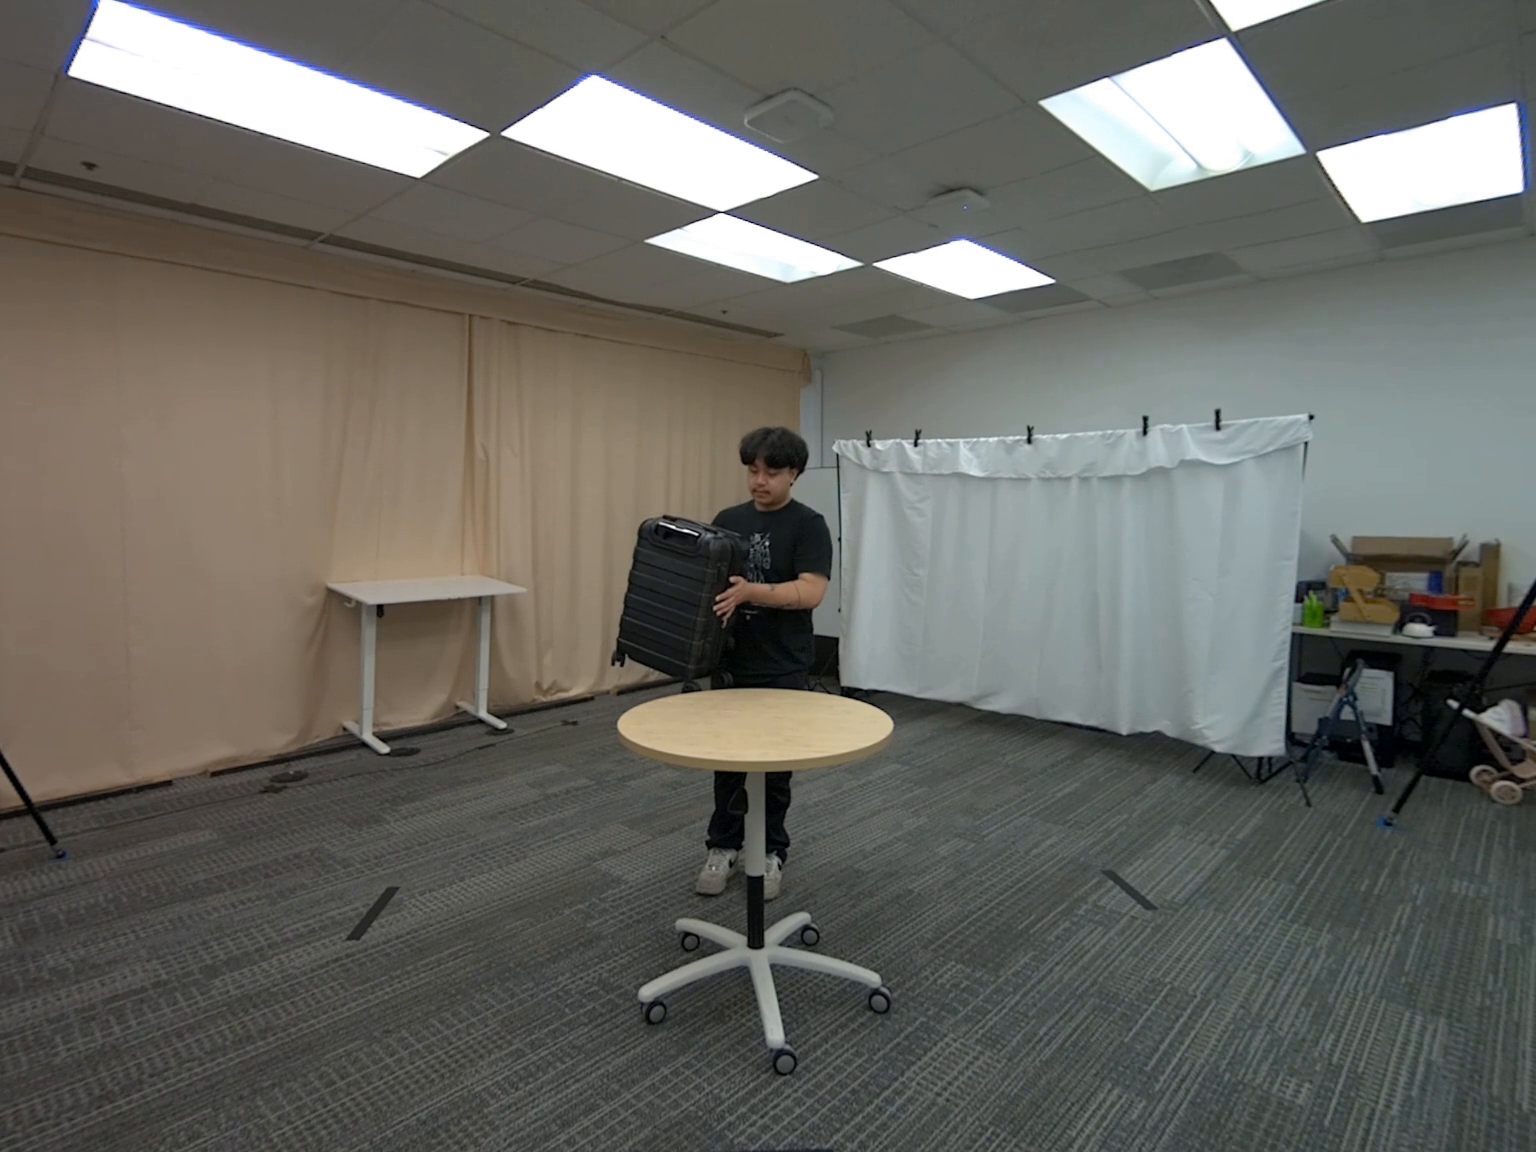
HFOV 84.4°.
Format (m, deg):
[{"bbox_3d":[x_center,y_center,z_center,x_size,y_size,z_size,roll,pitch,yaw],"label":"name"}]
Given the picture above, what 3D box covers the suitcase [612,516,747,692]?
[{"bbox_3d":[-0.297,0.078,2.880,0.387,0.547,0.241,16,9,30],"label":"suitcase"}]
